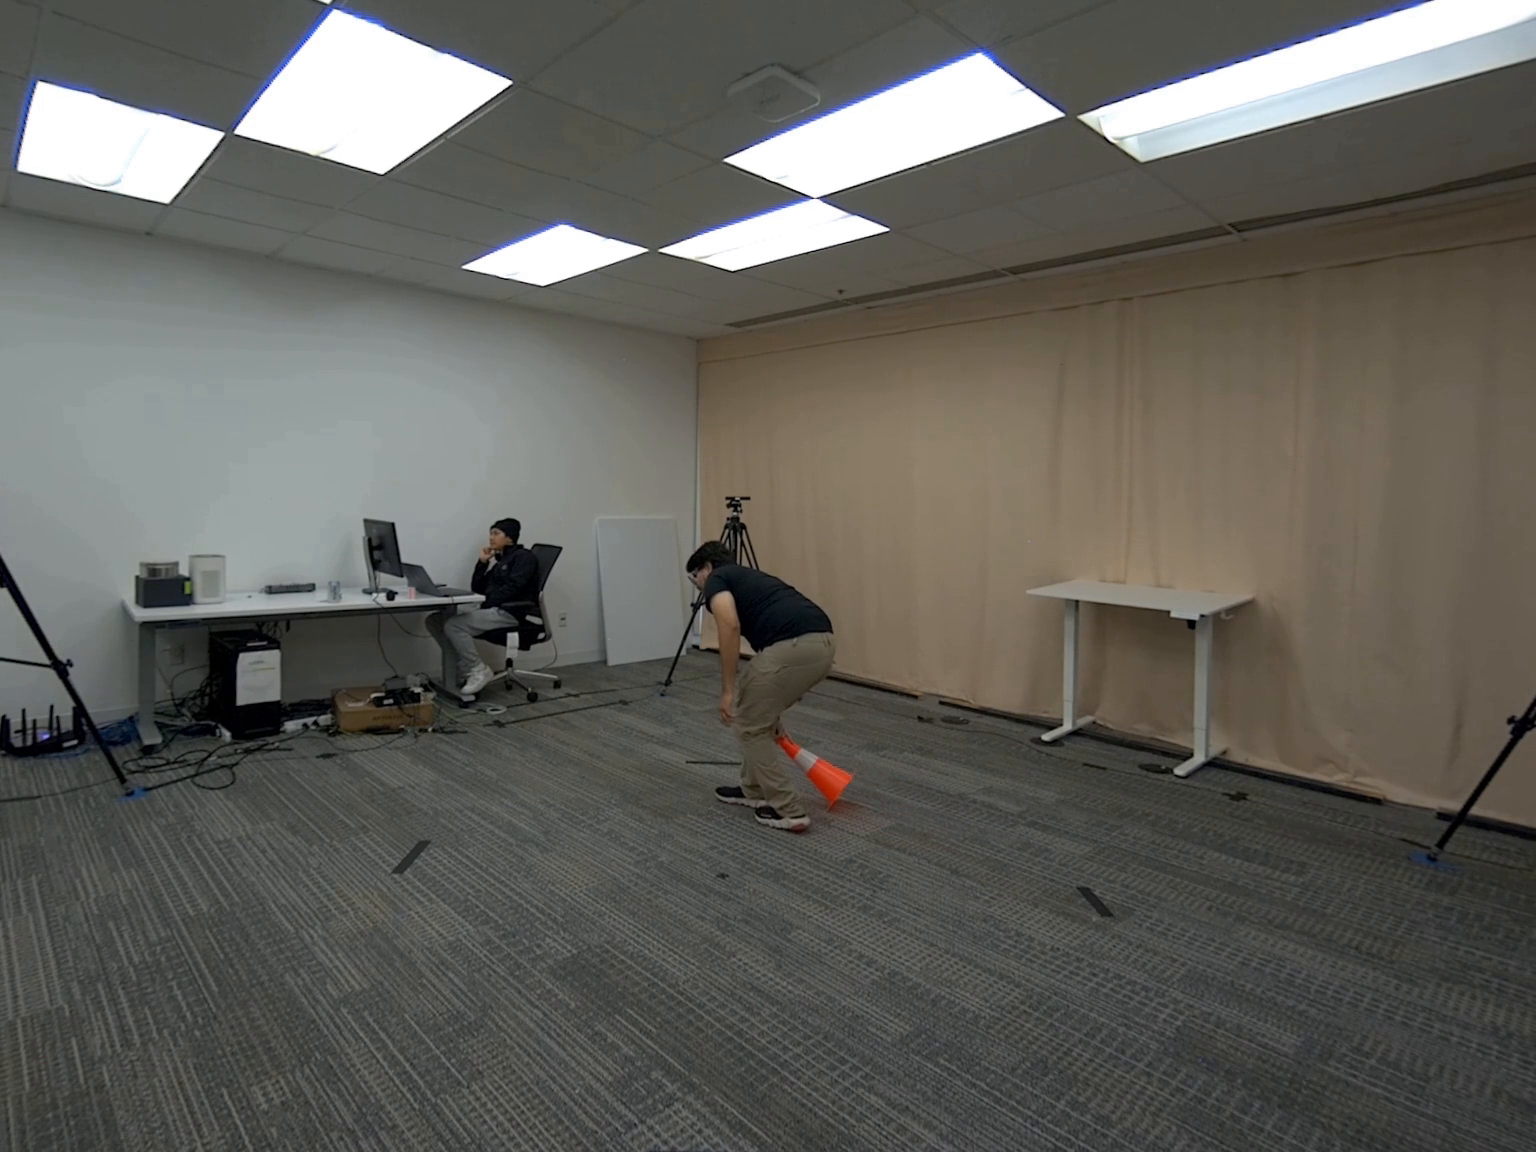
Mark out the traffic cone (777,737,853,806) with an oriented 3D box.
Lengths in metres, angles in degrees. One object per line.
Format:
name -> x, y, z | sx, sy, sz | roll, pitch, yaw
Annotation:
traffic cone -> 0.178, 0.862, 3.885 | 0.390, 0.204, 0.201 | 36, 22, 16
